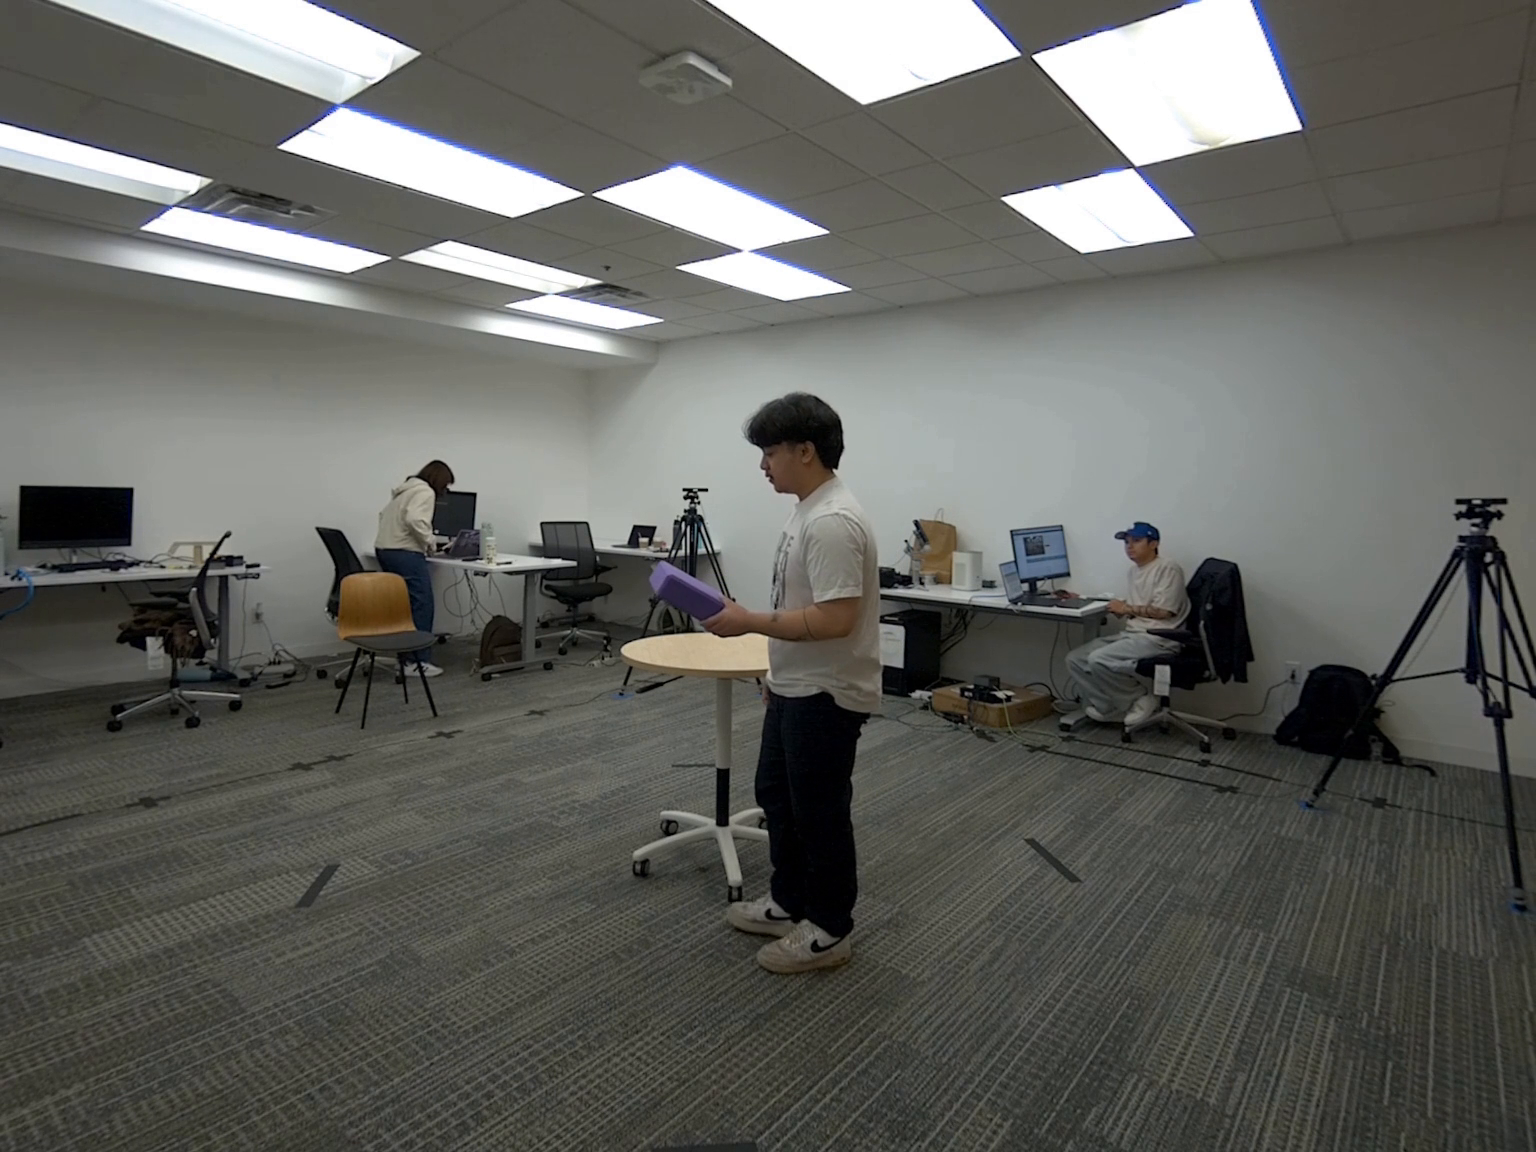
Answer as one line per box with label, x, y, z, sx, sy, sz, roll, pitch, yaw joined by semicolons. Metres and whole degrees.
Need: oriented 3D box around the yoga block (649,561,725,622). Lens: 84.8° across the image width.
yoga block;-0.226;0.052;2.404;0.225;0.076;0.152;30;5;-15
